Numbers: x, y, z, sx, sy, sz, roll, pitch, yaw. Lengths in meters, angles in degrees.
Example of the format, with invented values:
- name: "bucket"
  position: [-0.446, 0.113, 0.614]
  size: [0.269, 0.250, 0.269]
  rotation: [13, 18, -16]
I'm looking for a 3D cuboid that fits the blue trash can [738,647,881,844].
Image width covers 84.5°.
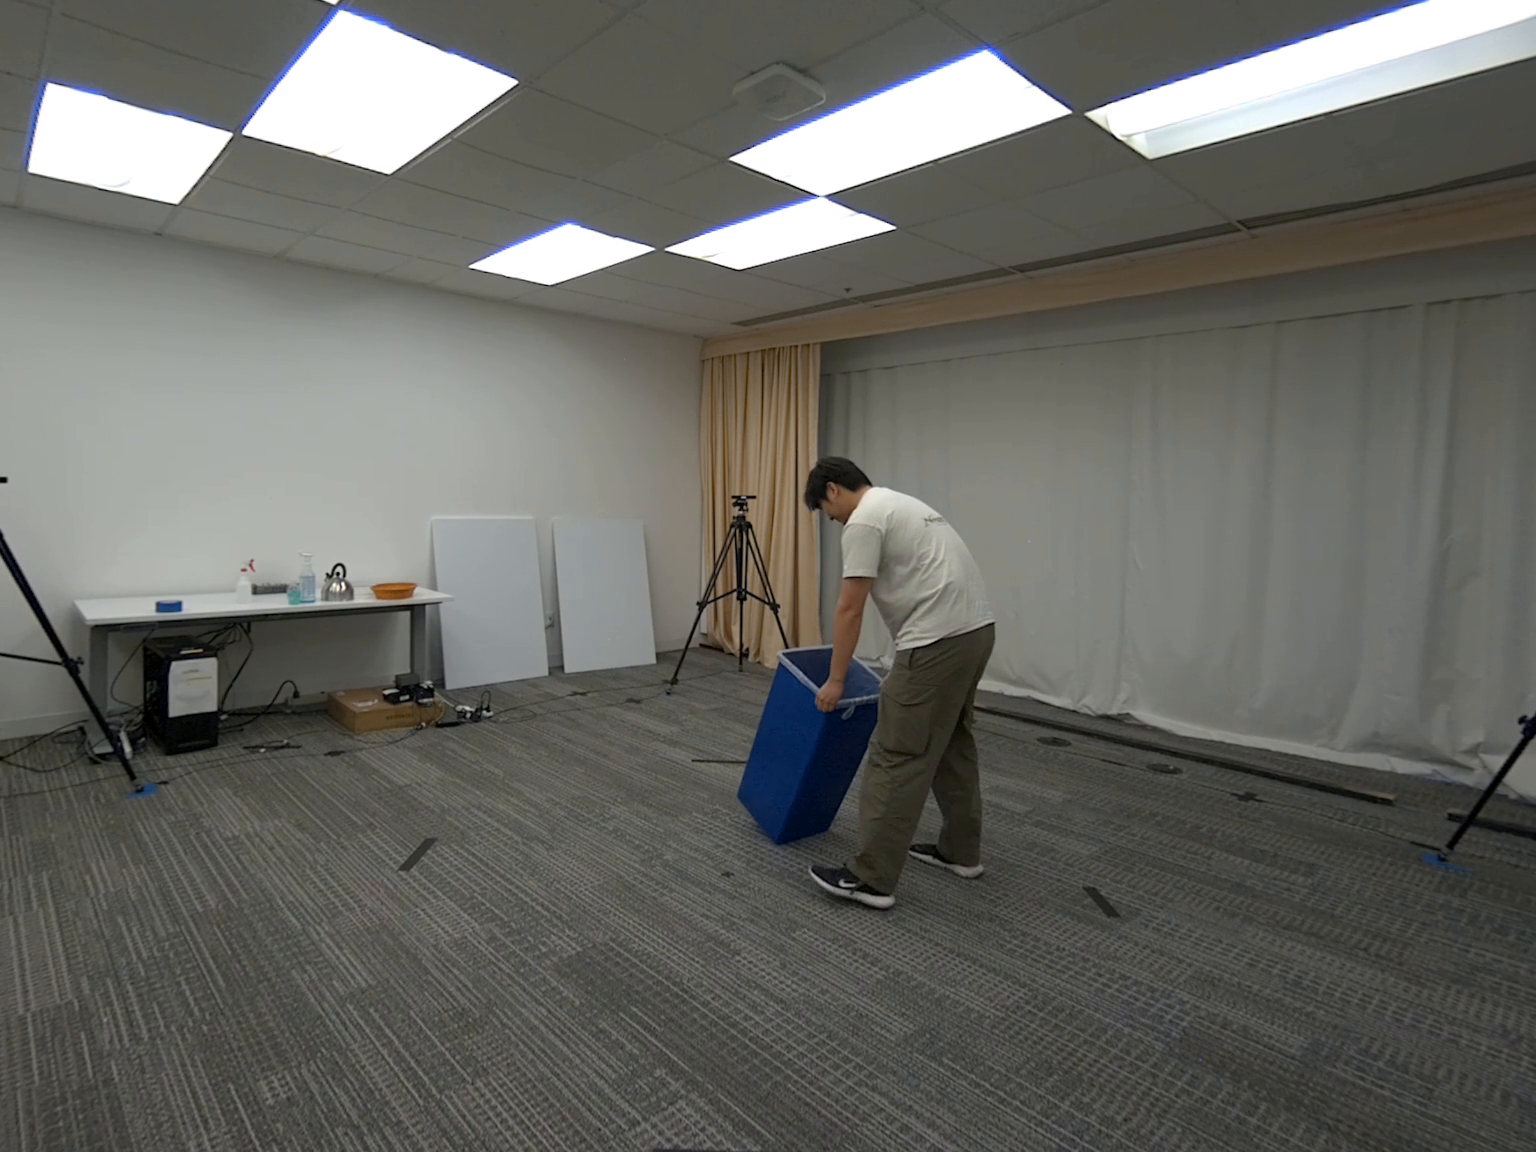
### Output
- name: "blue trash can"
  position: [0.152, 0.687, 3.433]
  size: [0.369, 0.707, 0.386]
  rotation: [-1, 29, -40]
